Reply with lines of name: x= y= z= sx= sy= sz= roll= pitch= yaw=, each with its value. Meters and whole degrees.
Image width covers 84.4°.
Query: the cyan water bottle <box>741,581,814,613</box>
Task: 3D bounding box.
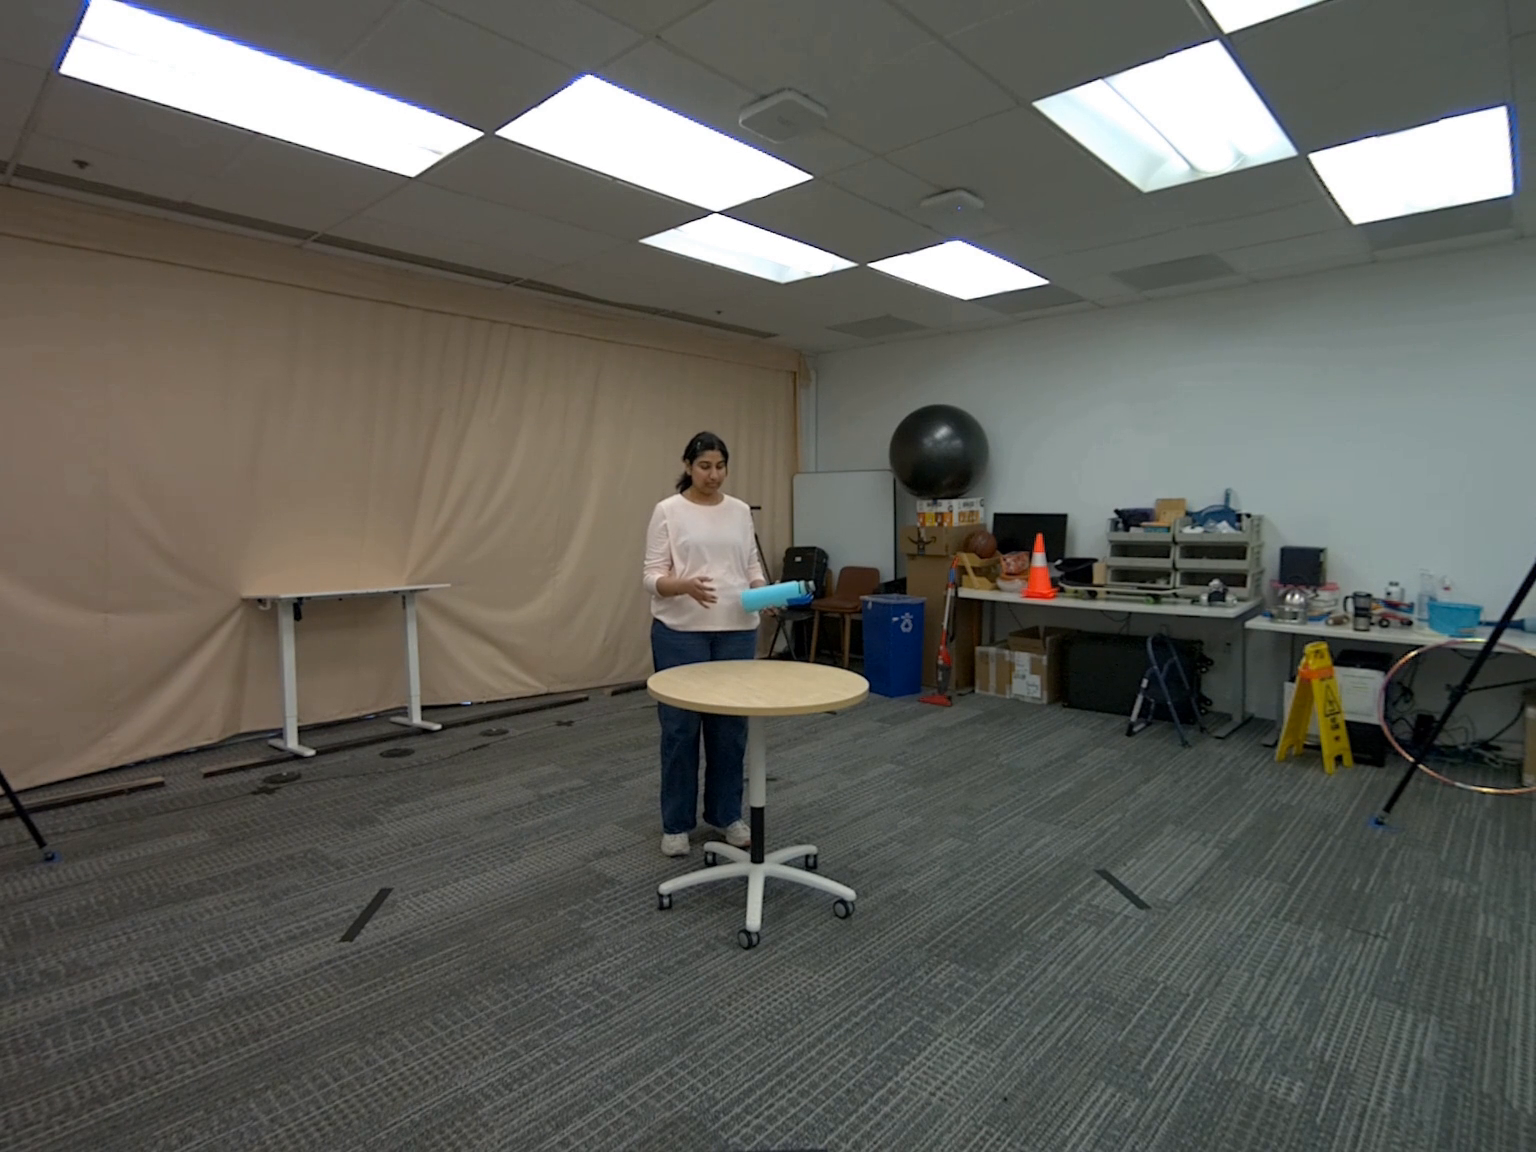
cyan water bottle: x=0.045 y=0.077 z=3.271 sx=0.288 sy=0.092 sz=0.091 roll=-11 pitch=0 yaw=19
